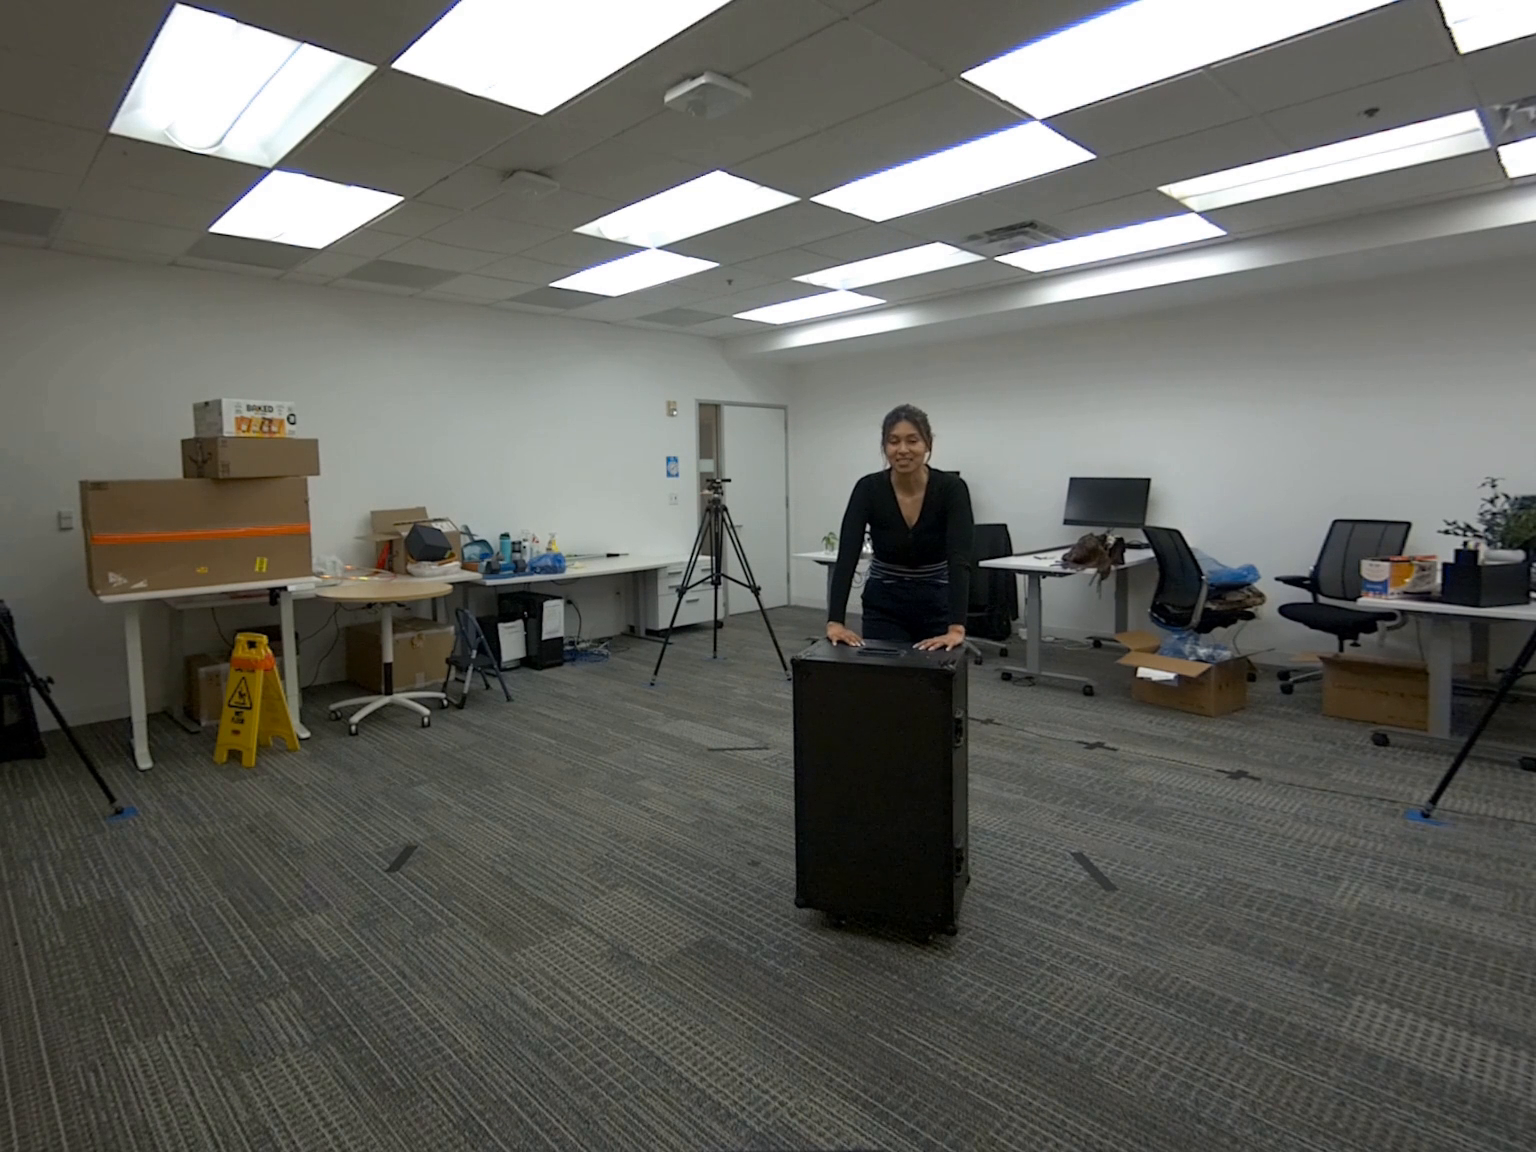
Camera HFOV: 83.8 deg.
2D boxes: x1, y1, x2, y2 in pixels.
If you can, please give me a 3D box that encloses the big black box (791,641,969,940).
[{"bbox_3d":[0.363,0.659,2.701,0.532,0.859,0.389,1,4,22],"label":"big black box"}]
